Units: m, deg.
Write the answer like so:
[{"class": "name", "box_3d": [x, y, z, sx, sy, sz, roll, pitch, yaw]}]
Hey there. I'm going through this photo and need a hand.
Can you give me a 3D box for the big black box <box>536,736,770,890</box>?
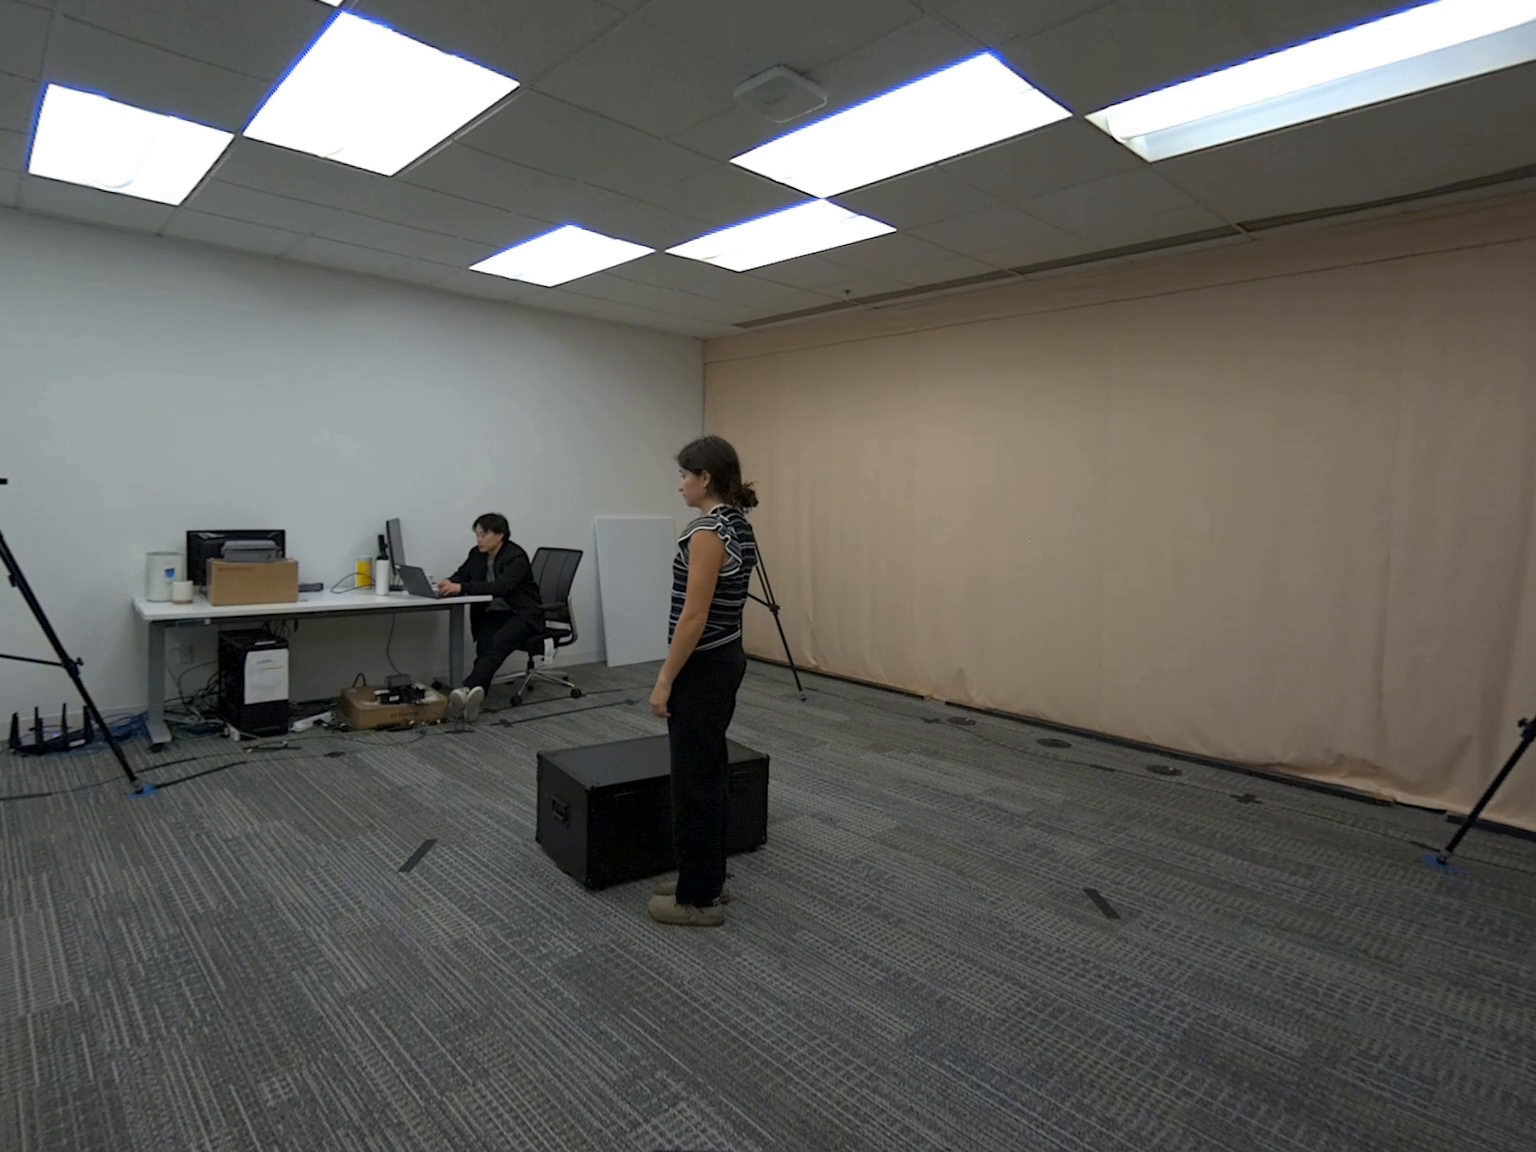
[{"class": "big black box", "box_3d": [-0.435, 0.890, 3.342, 0.843, 0.395, 0.534, -3, 6, -35]}]
